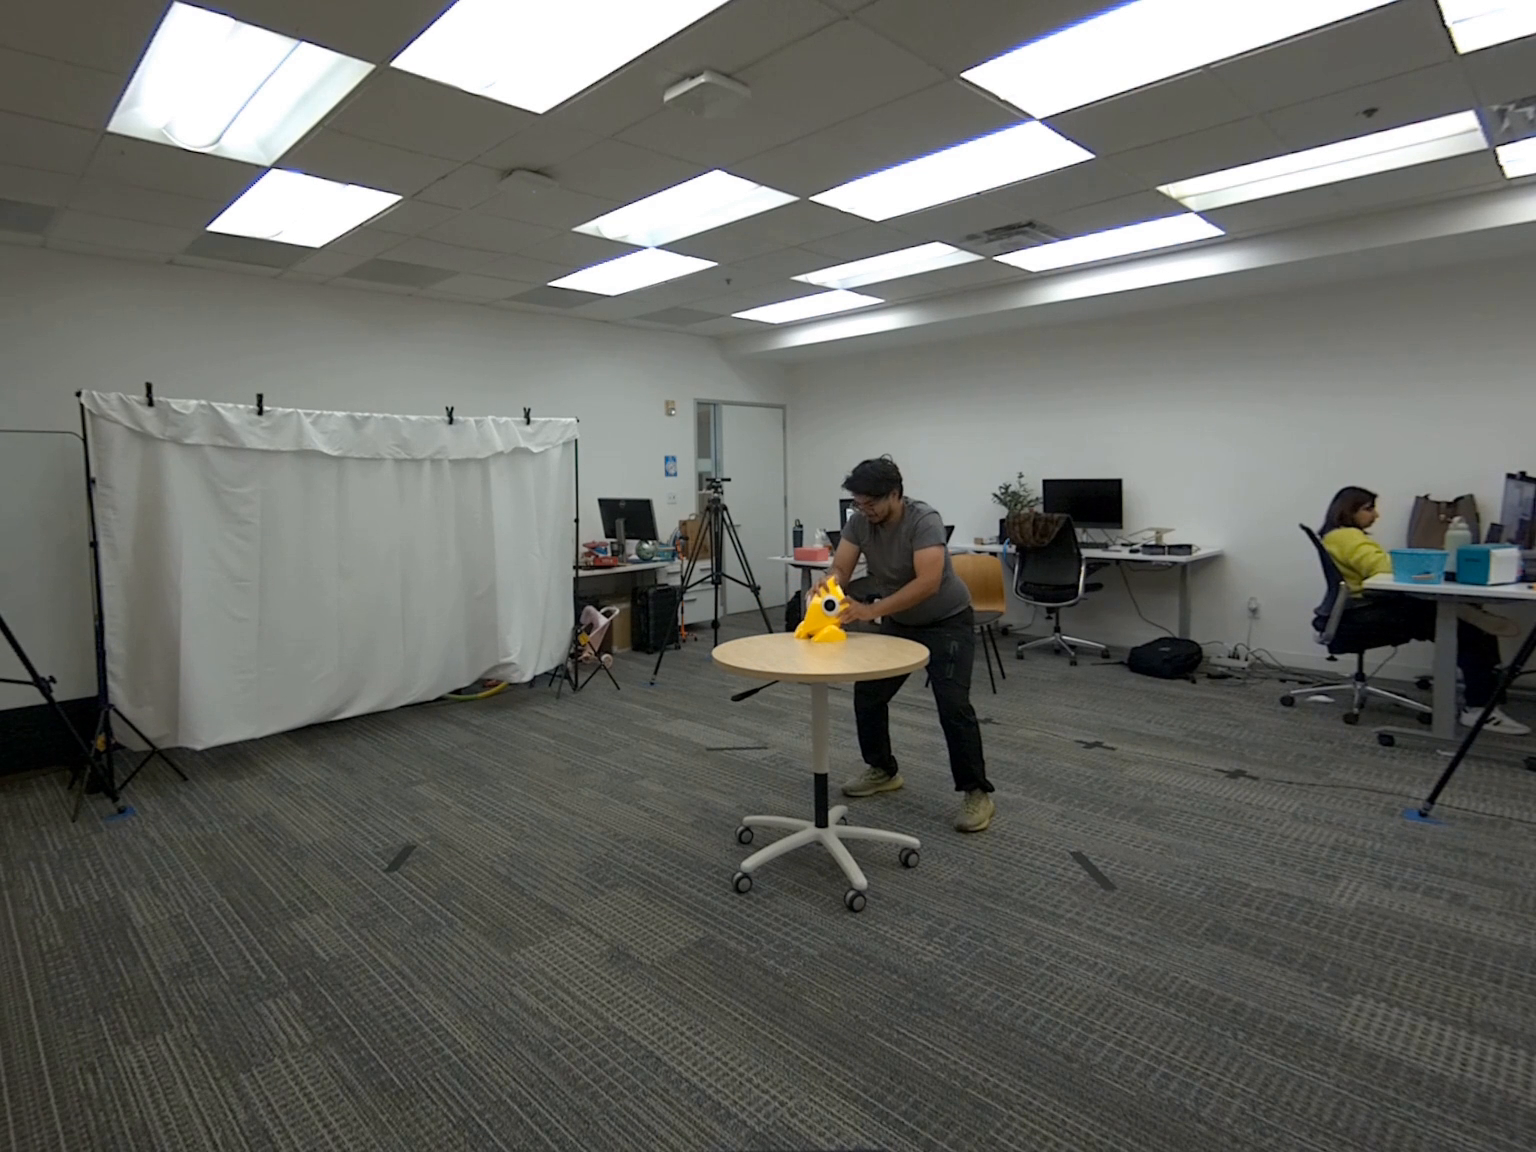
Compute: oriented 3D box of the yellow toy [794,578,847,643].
[{"bbox_3d":[0.212,0.122,3.302,0.188,0.230,0.210,-3,5,-33],"label":"yellow toy"}]
